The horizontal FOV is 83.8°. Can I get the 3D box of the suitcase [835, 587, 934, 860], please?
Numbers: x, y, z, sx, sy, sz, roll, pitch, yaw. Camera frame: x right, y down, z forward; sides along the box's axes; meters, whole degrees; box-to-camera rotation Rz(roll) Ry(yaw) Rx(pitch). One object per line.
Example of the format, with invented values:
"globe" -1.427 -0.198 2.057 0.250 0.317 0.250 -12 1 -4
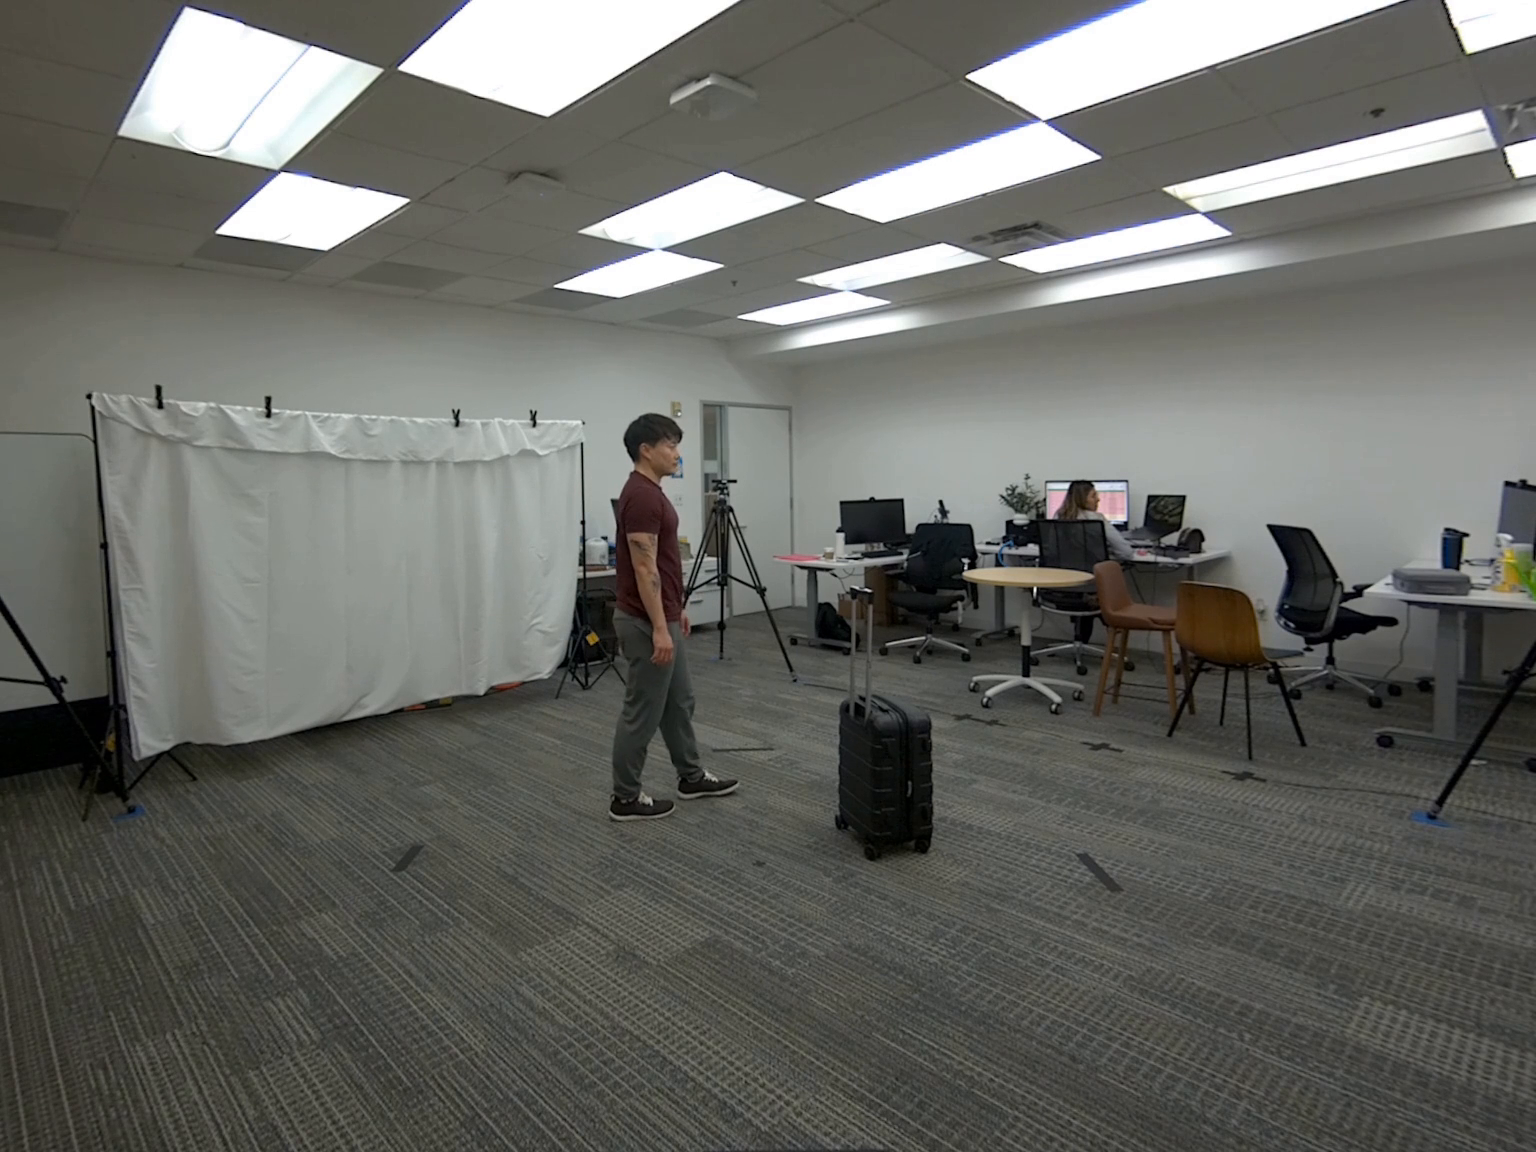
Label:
"suitcase" 0.449 0.545 3.267 0.253 0.975 0.391 1 4 -16
